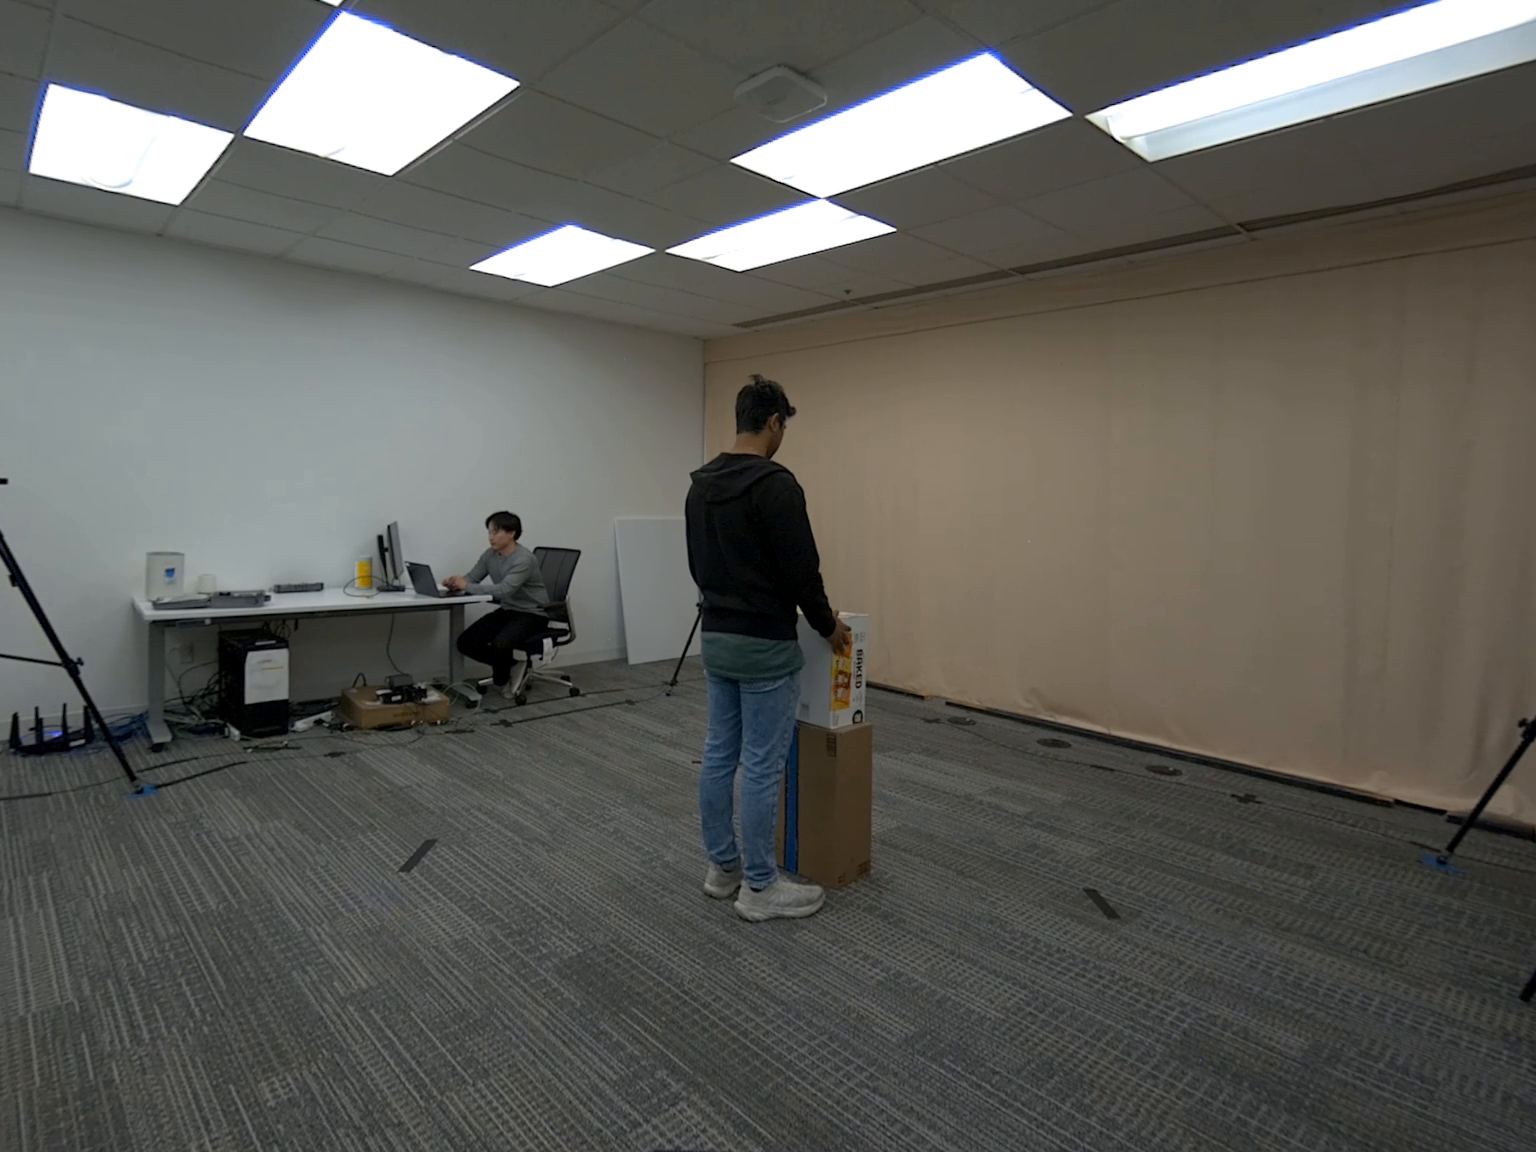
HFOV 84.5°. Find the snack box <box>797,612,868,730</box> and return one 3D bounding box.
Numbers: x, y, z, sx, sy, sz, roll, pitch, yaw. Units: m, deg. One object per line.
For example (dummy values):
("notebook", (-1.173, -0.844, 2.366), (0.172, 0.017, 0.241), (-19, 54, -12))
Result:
("snack box", (0.171, 0.337, 3.206), (0.201, 0.404, 0.349), (0, 4, -45))
